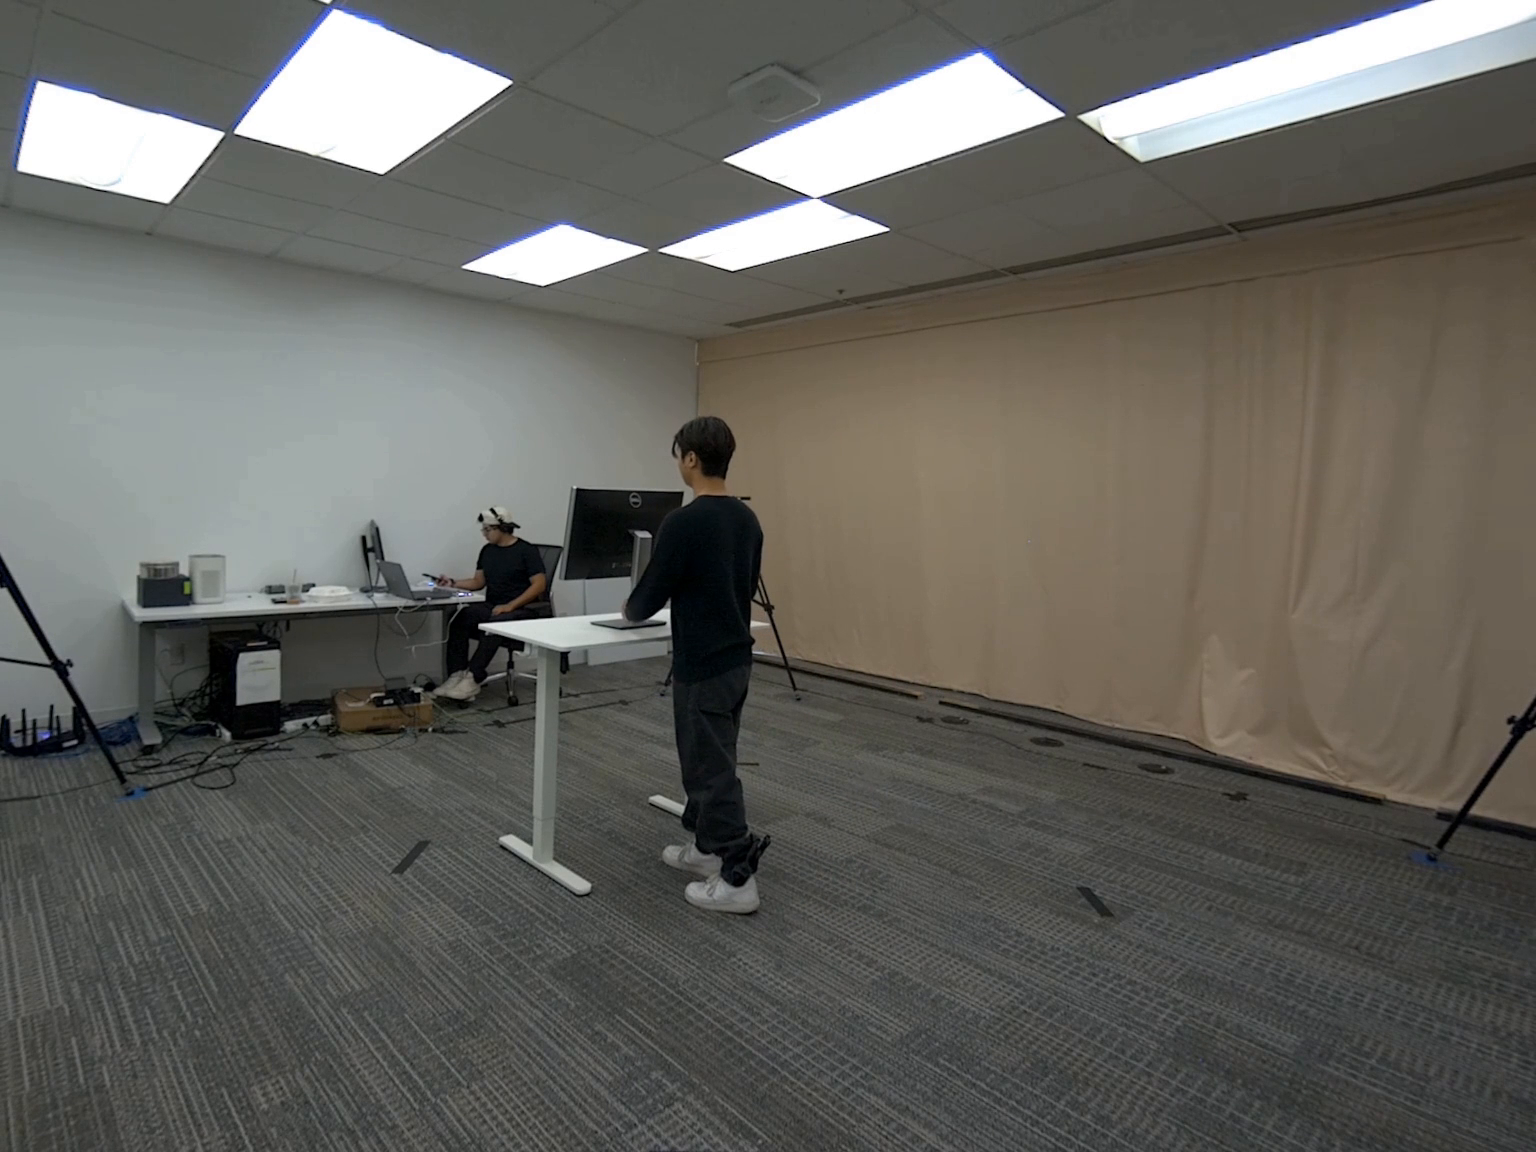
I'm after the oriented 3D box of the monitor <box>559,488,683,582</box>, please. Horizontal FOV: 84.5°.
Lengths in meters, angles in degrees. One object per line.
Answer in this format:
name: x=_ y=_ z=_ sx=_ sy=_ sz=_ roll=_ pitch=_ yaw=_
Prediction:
monitor: x=-0.552 y=-0.078 z=3.333 sx=0.178 sy=0.516 sz=0.519 roll=-5 pitch=1 yaw=41
